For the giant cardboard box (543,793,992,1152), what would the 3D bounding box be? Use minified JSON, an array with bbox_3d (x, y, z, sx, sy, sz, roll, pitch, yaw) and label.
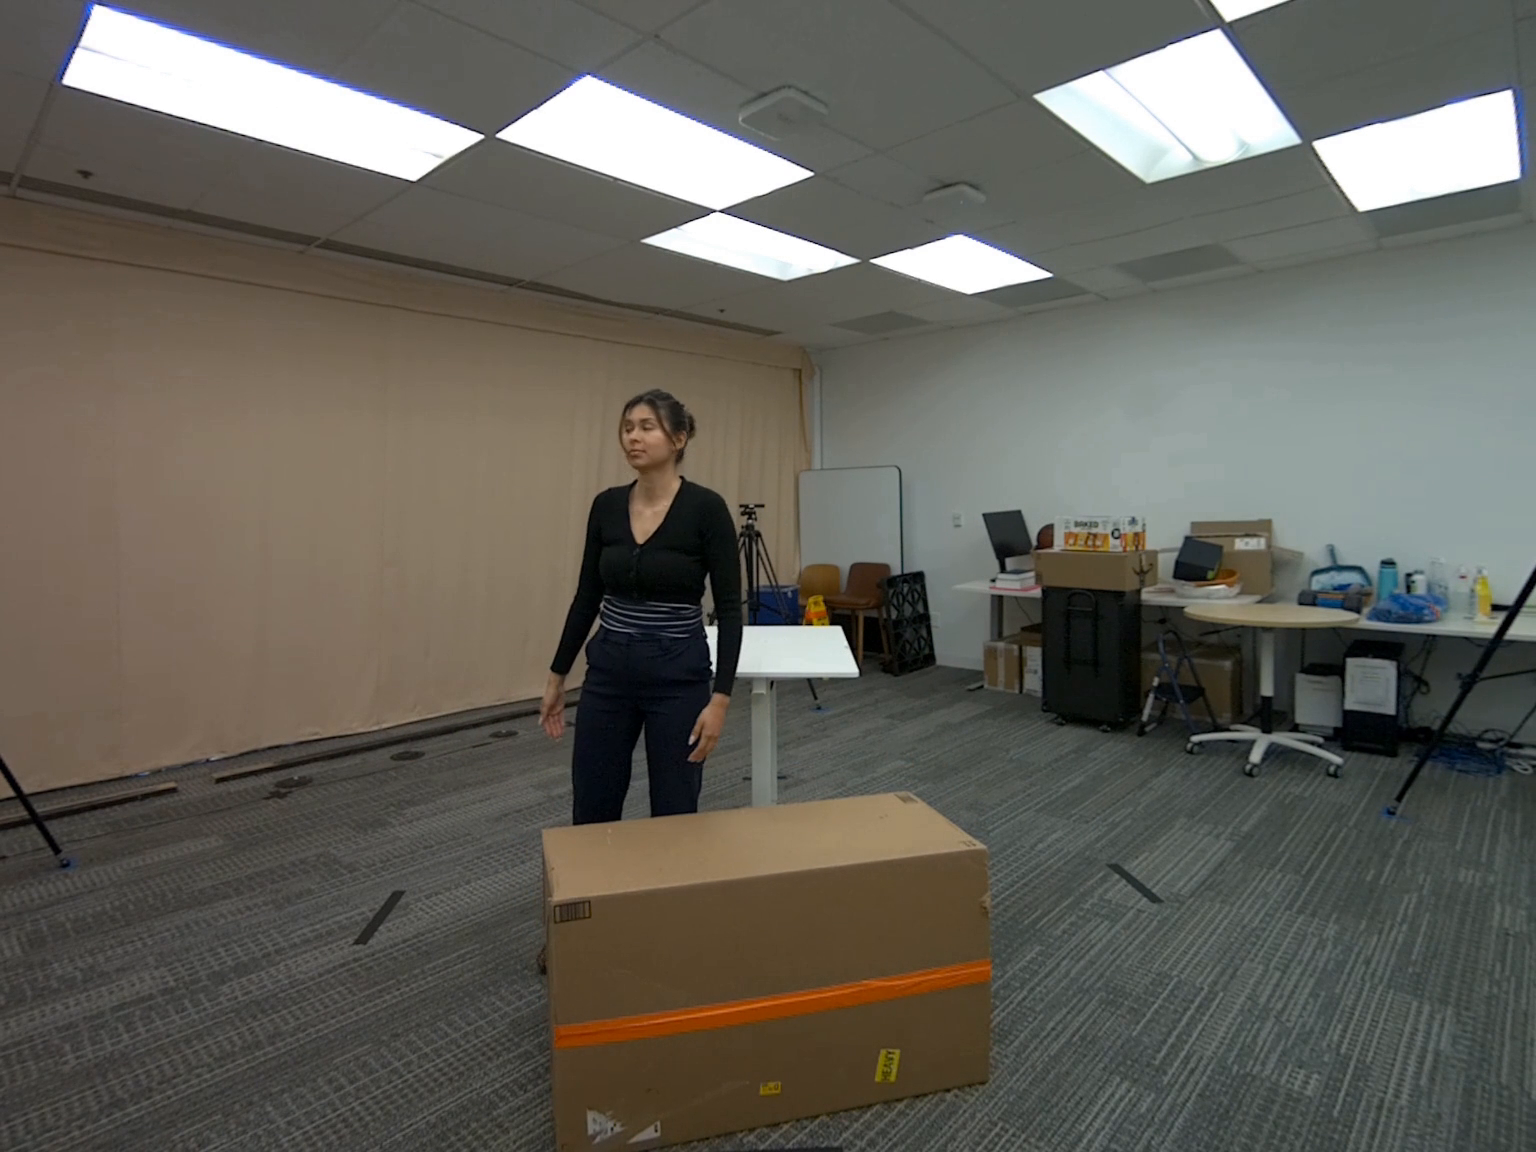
[{"bbox_3d":[-0.012,0.929,2.072,1.010,0.576,0.434,-2,4,-14],"label":"giant cardboard box"}]
